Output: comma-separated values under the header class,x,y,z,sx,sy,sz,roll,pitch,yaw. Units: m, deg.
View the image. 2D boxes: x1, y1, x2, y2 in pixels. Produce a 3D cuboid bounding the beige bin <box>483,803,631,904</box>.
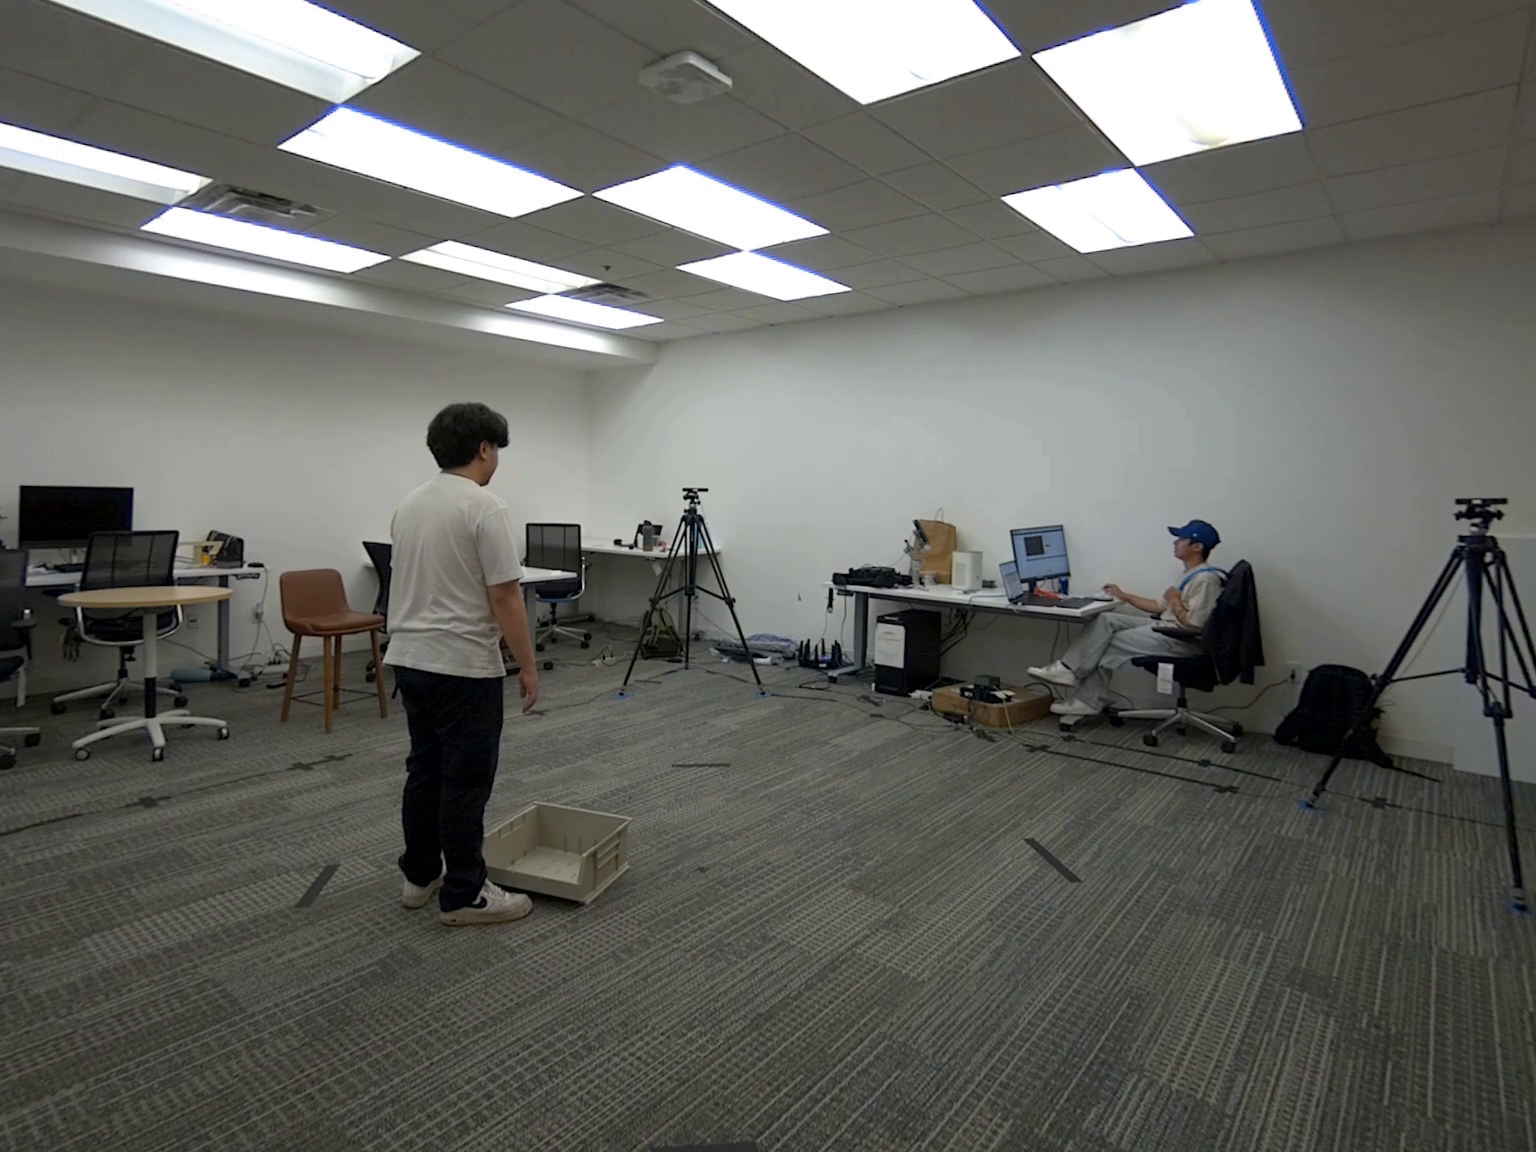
class,x,y,z,sx,sy,sz,roll,pitch,yaw
beige bin,-0.764,0.978,3.018,0.431,0.188,0.371,2,4,19
